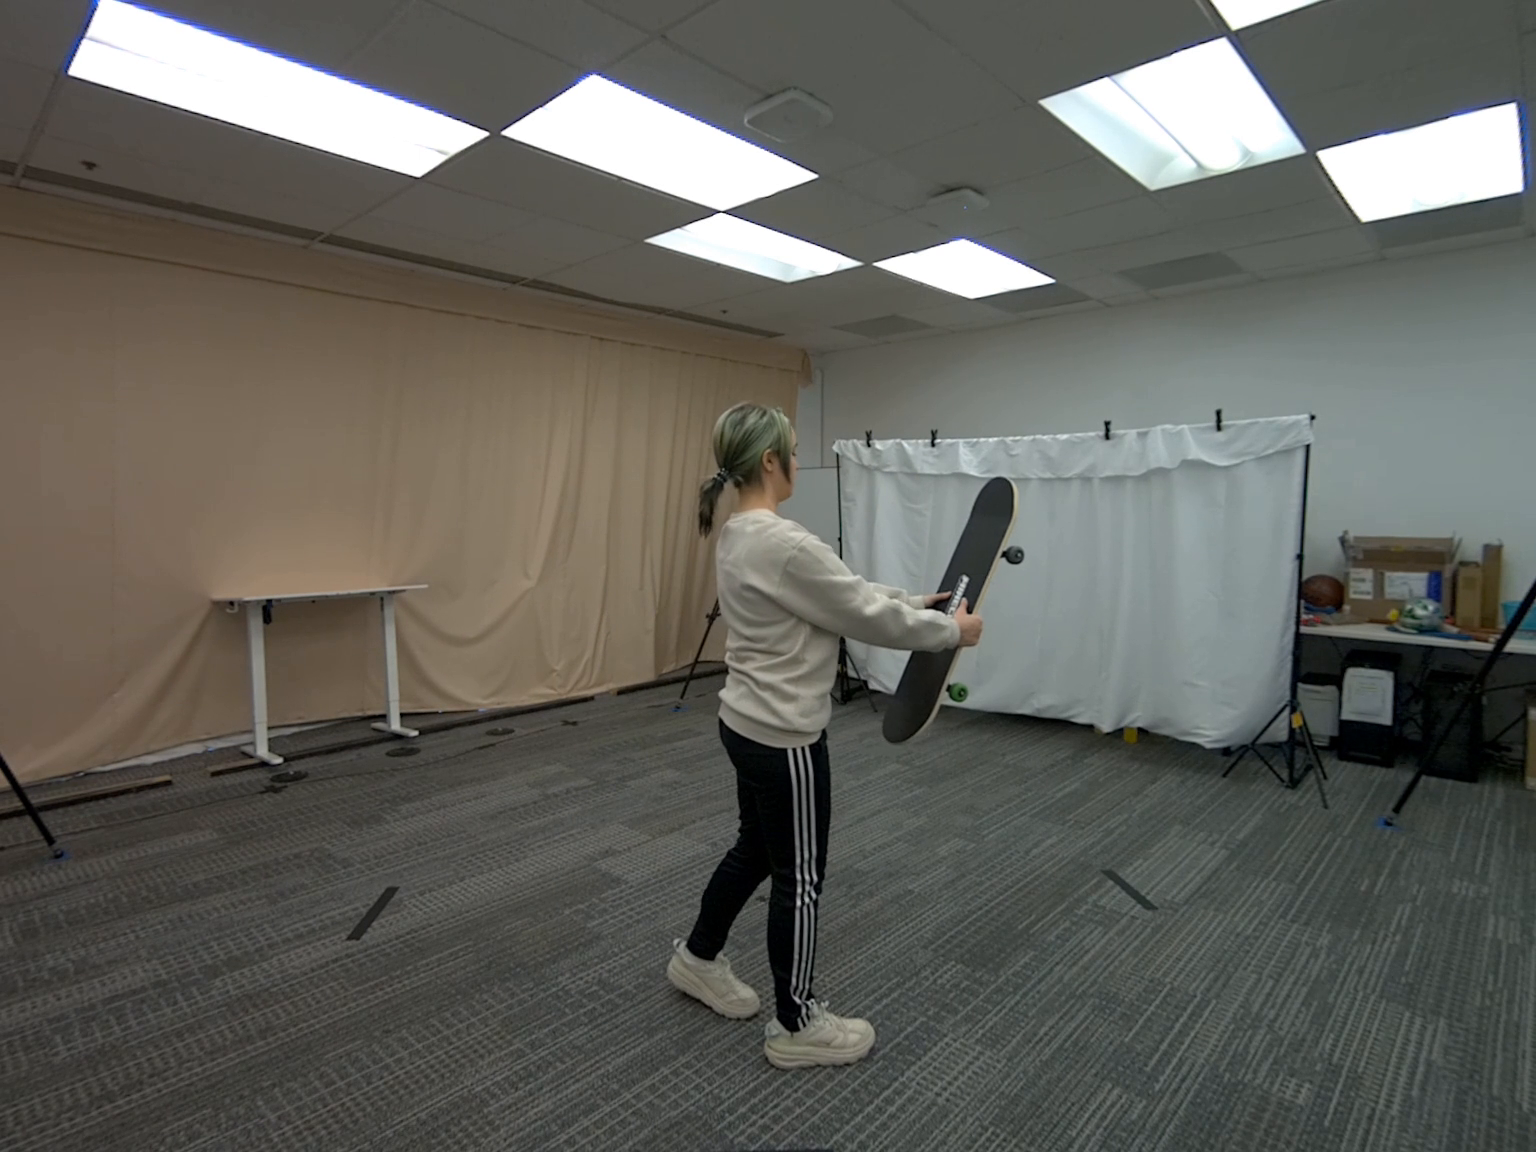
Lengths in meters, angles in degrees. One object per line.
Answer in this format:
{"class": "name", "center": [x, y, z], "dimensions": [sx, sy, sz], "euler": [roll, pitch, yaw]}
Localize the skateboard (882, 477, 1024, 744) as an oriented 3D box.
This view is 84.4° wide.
{"class": "skateboard", "center": [0.531, 0.107, 2.295], "dimensions": [0.108, 0.786, 0.198], "euler": [25, -5, -22]}
